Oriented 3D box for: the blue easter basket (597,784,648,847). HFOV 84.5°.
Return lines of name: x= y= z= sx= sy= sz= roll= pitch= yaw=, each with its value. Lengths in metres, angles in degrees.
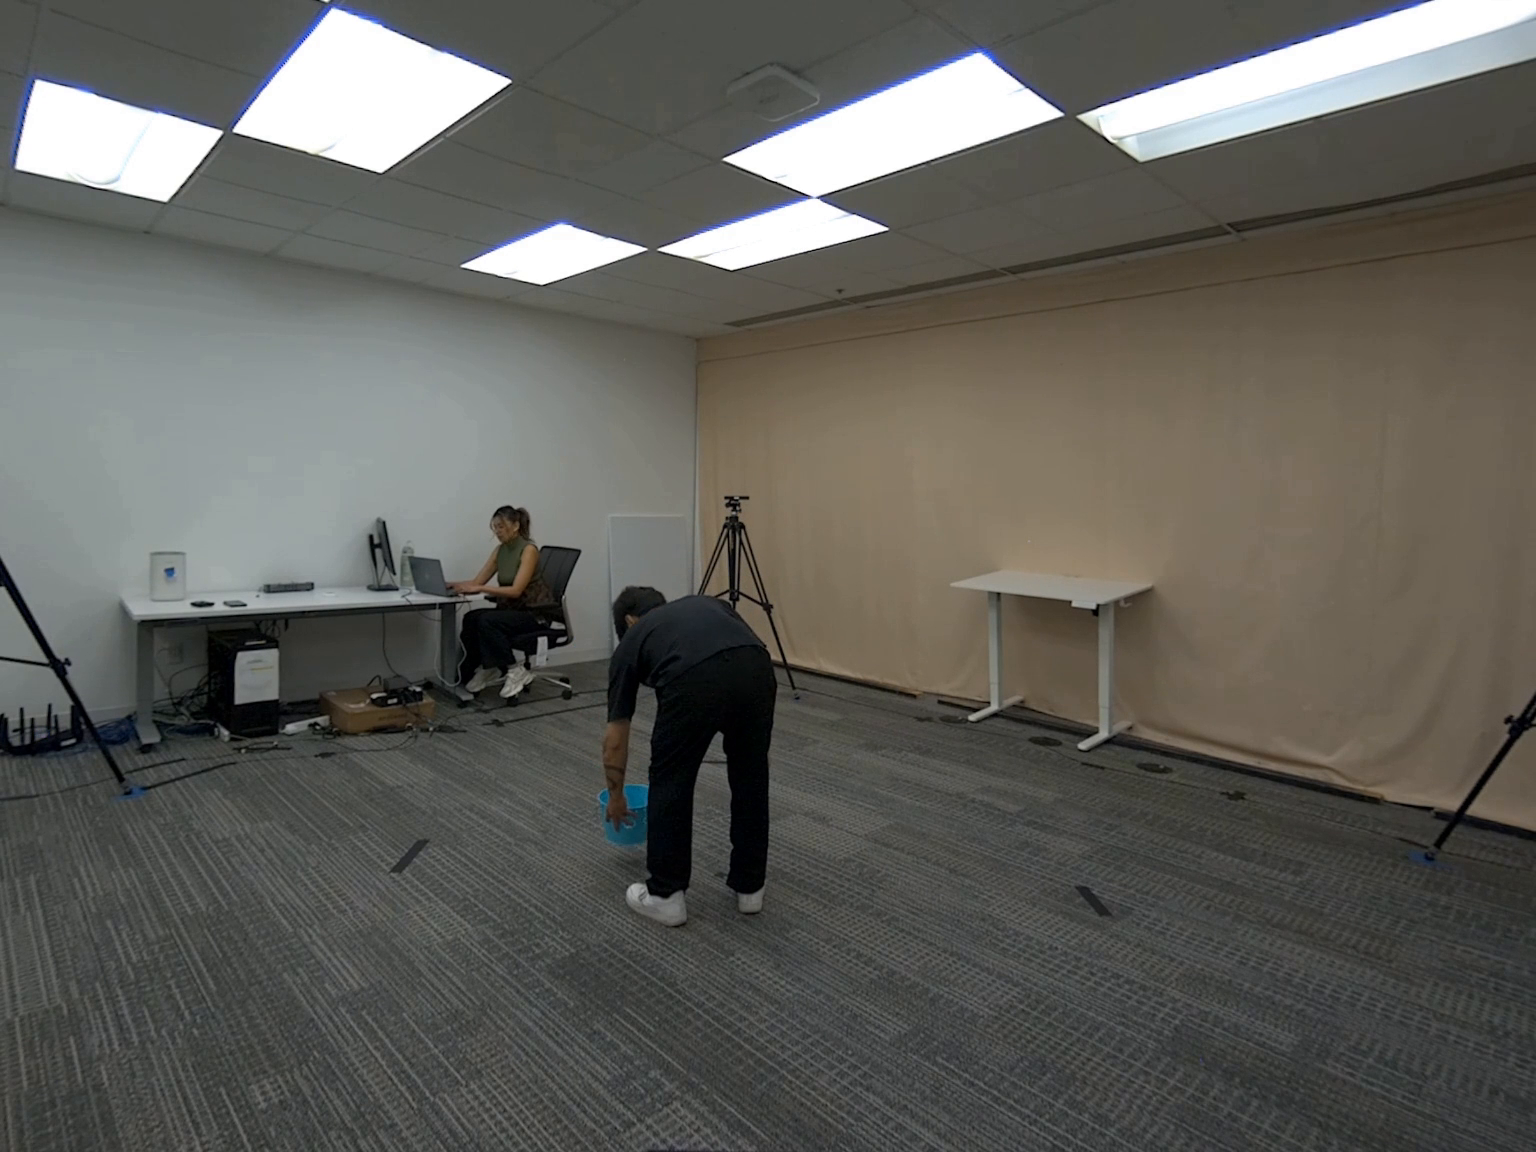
blue easter basket: x=-0.539 y=0.902 z=3.174 sx=0.243 sy=0.155 sz=0.245 roll=2 pitch=7 yaw=-2
